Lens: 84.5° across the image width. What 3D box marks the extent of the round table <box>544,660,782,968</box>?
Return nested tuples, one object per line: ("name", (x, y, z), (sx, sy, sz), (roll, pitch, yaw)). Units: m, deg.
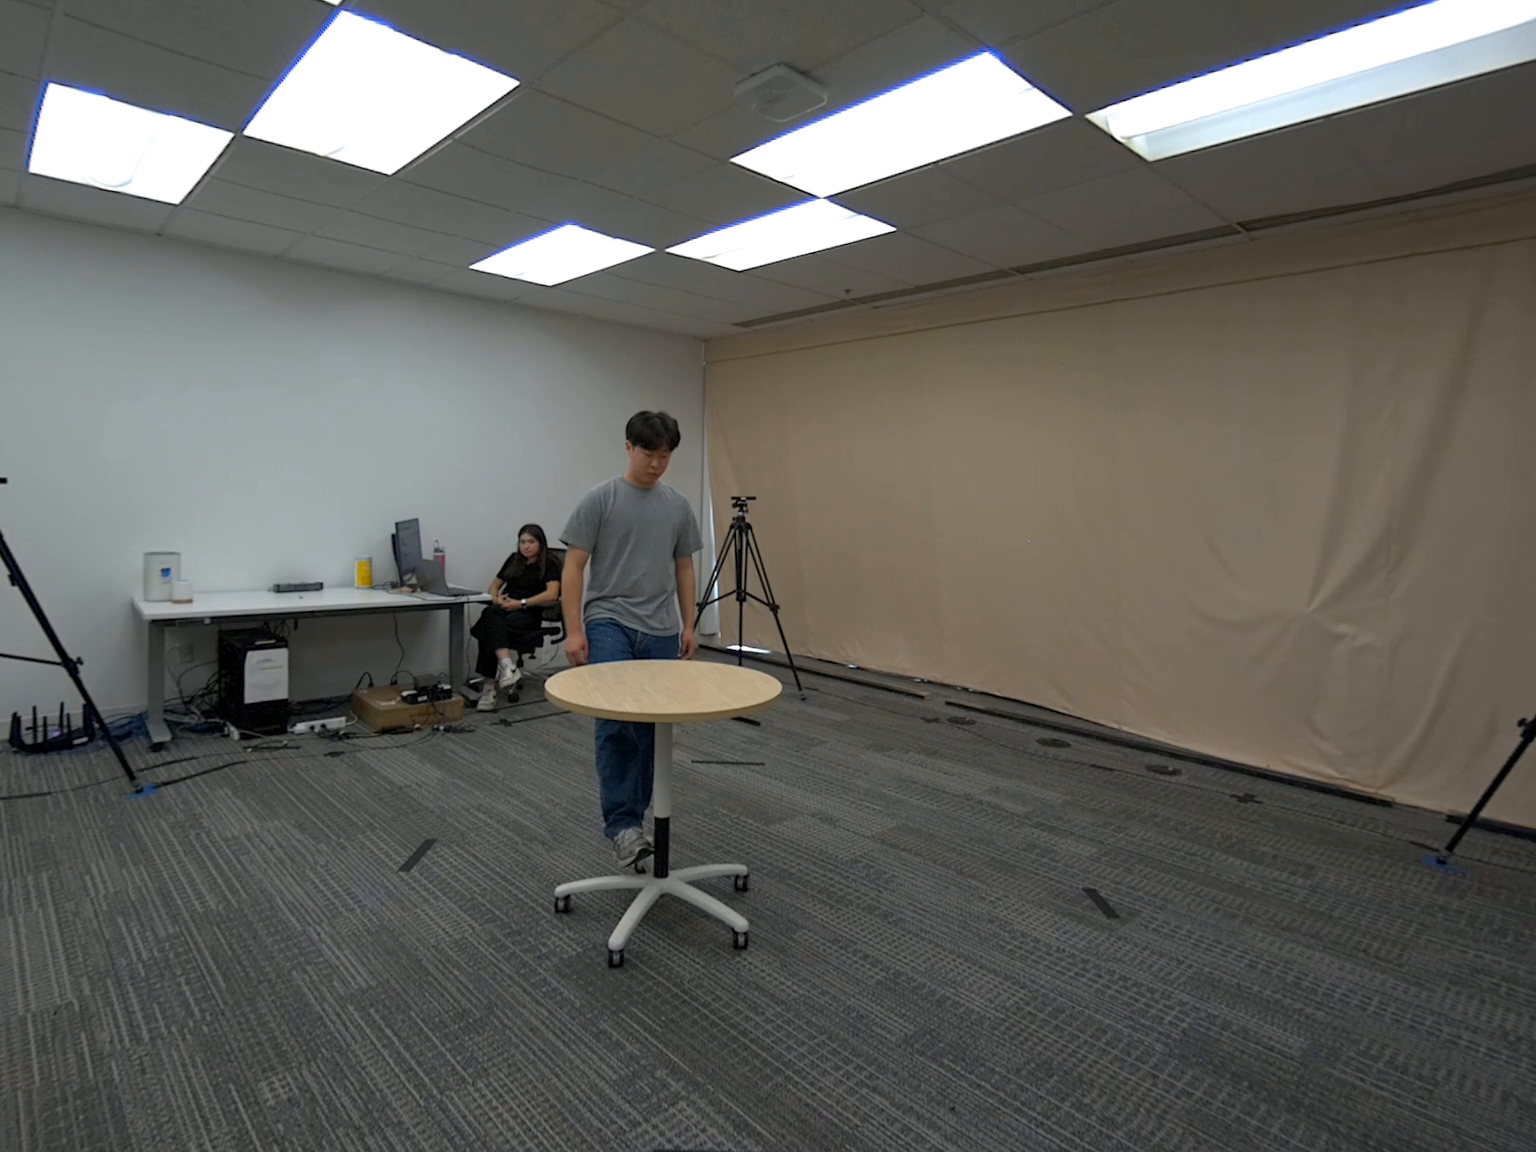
("round table", (-0.349, 0.745, 2.761), (0.763, 0.792, 0.767), (1, 4, -1))
